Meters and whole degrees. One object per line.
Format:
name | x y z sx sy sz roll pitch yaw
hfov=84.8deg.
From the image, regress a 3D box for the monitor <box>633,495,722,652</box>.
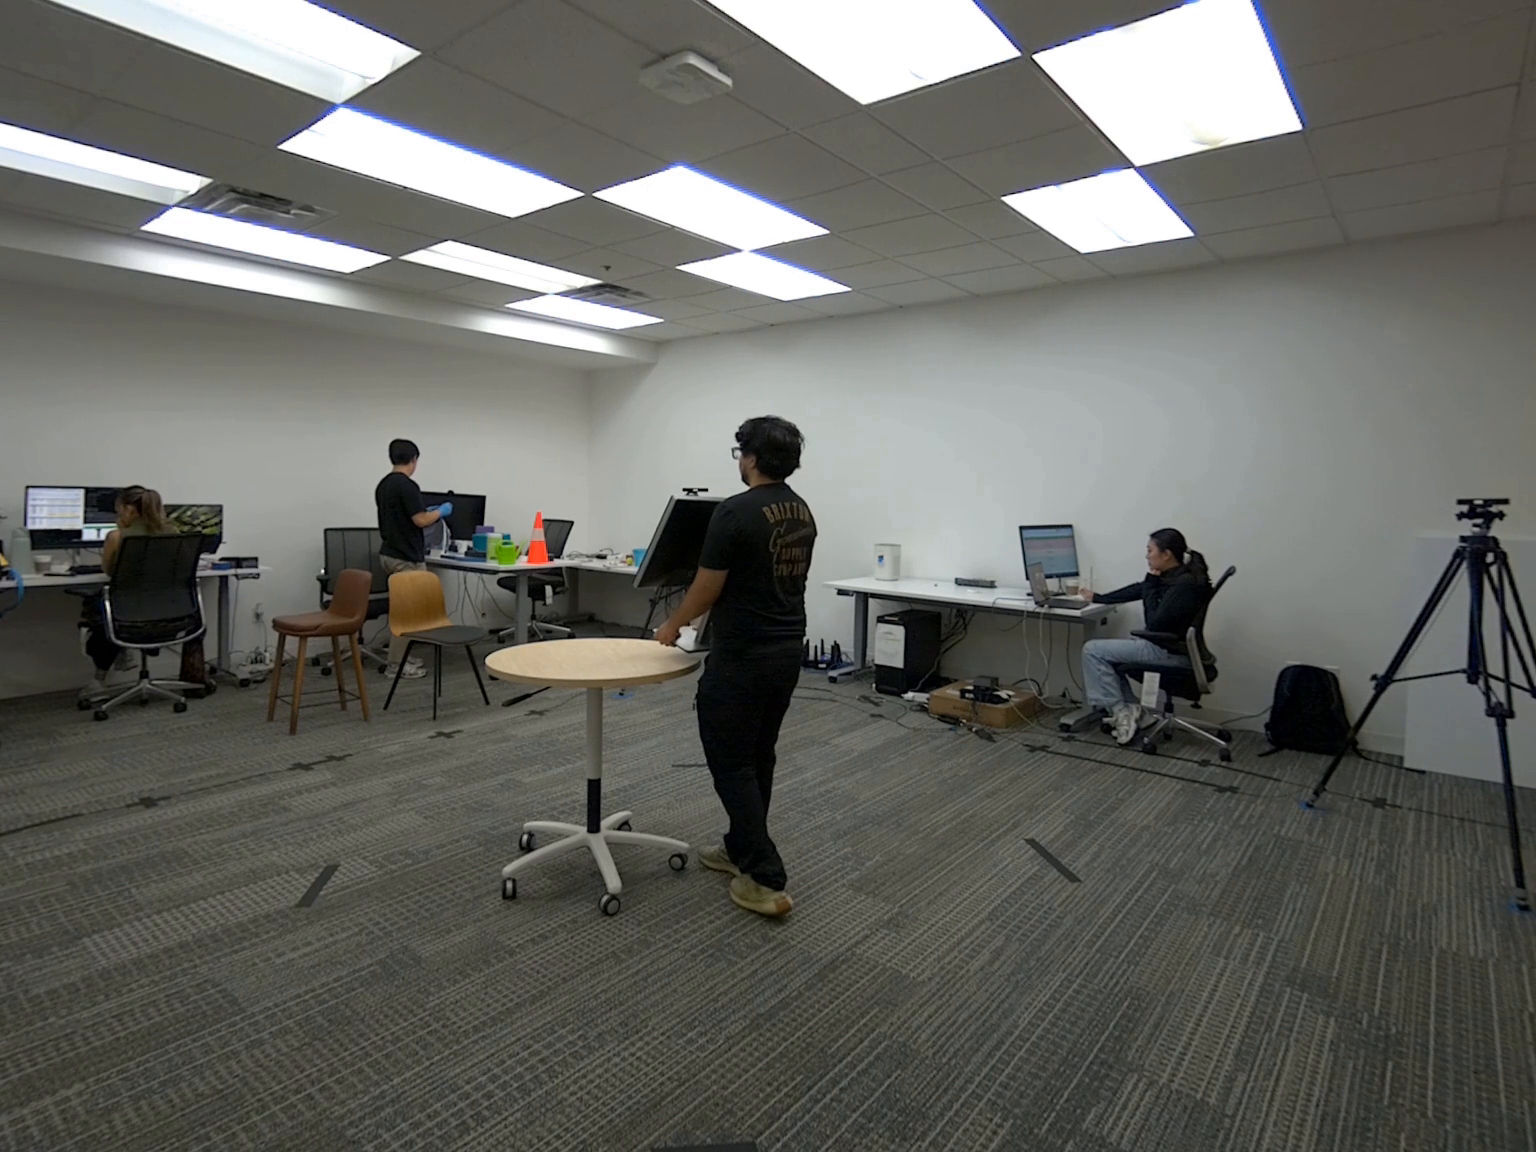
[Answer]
monitor | -0.207 -0.009 3.037 0.219 0.549 0.548 33 21 34
